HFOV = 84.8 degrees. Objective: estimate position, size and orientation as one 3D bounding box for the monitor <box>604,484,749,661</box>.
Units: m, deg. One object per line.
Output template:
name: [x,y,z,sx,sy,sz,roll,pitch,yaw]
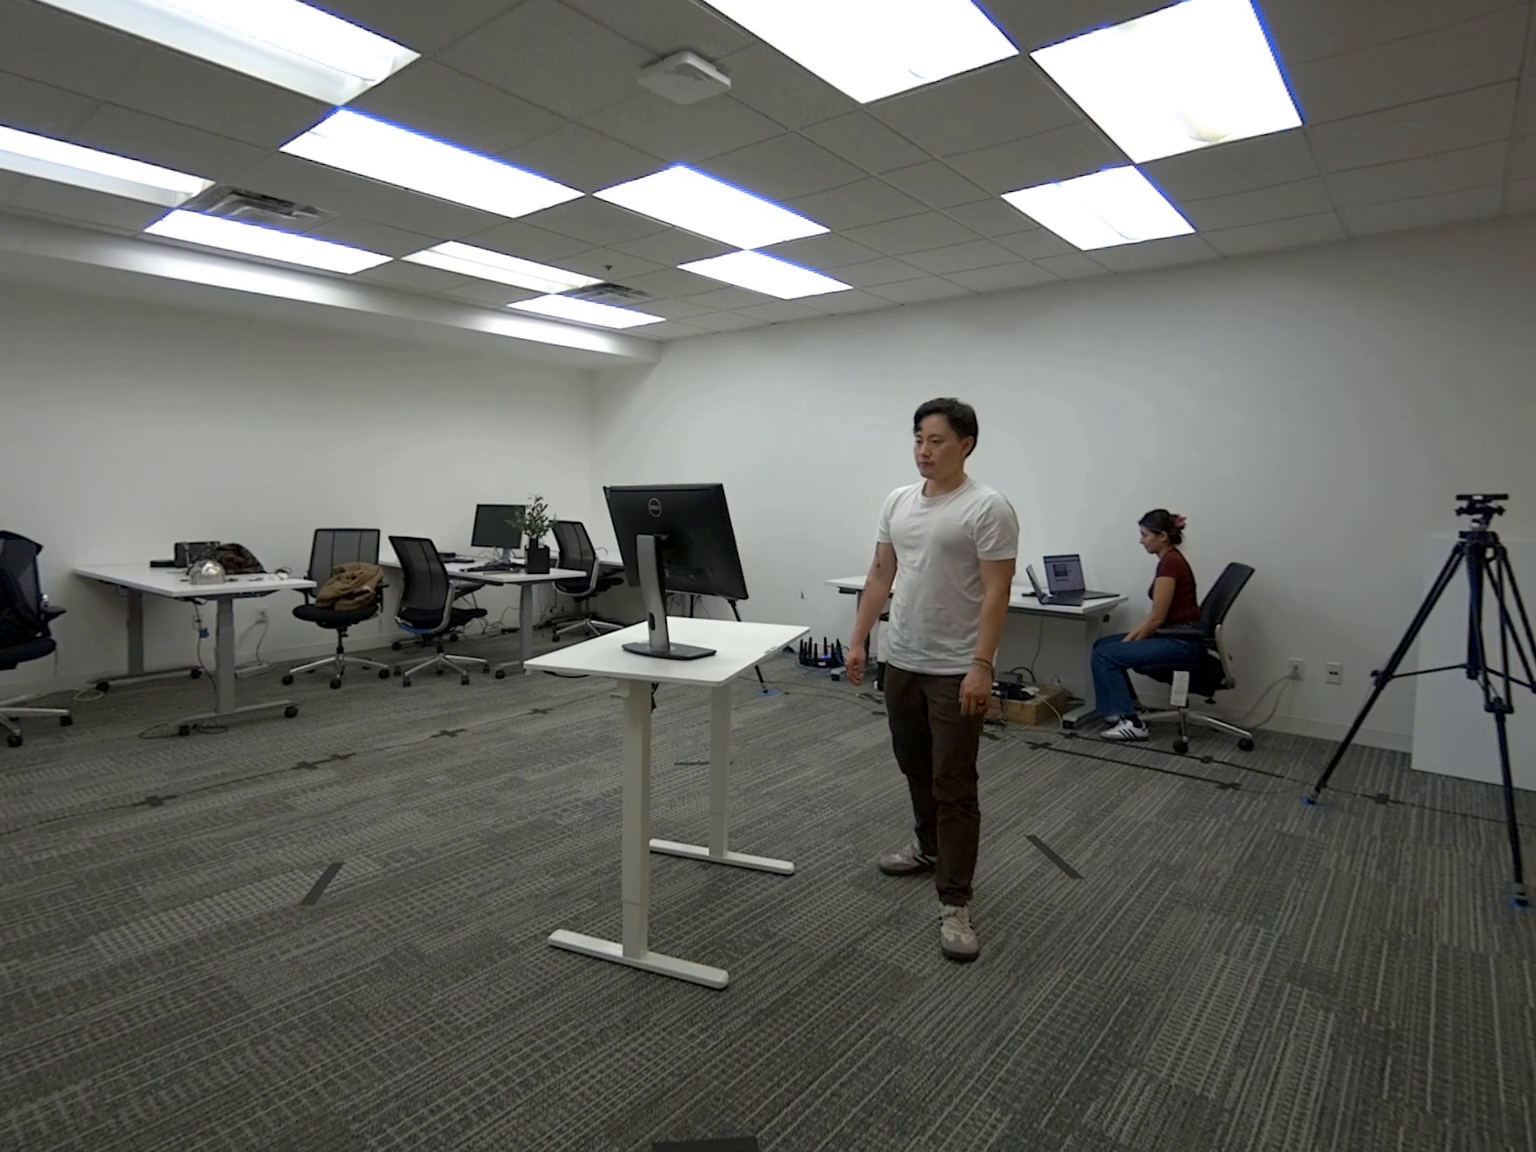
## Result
monitor: [-0.324,-0.020,2.595,0.557,0.520,0.182,3,8,41]
